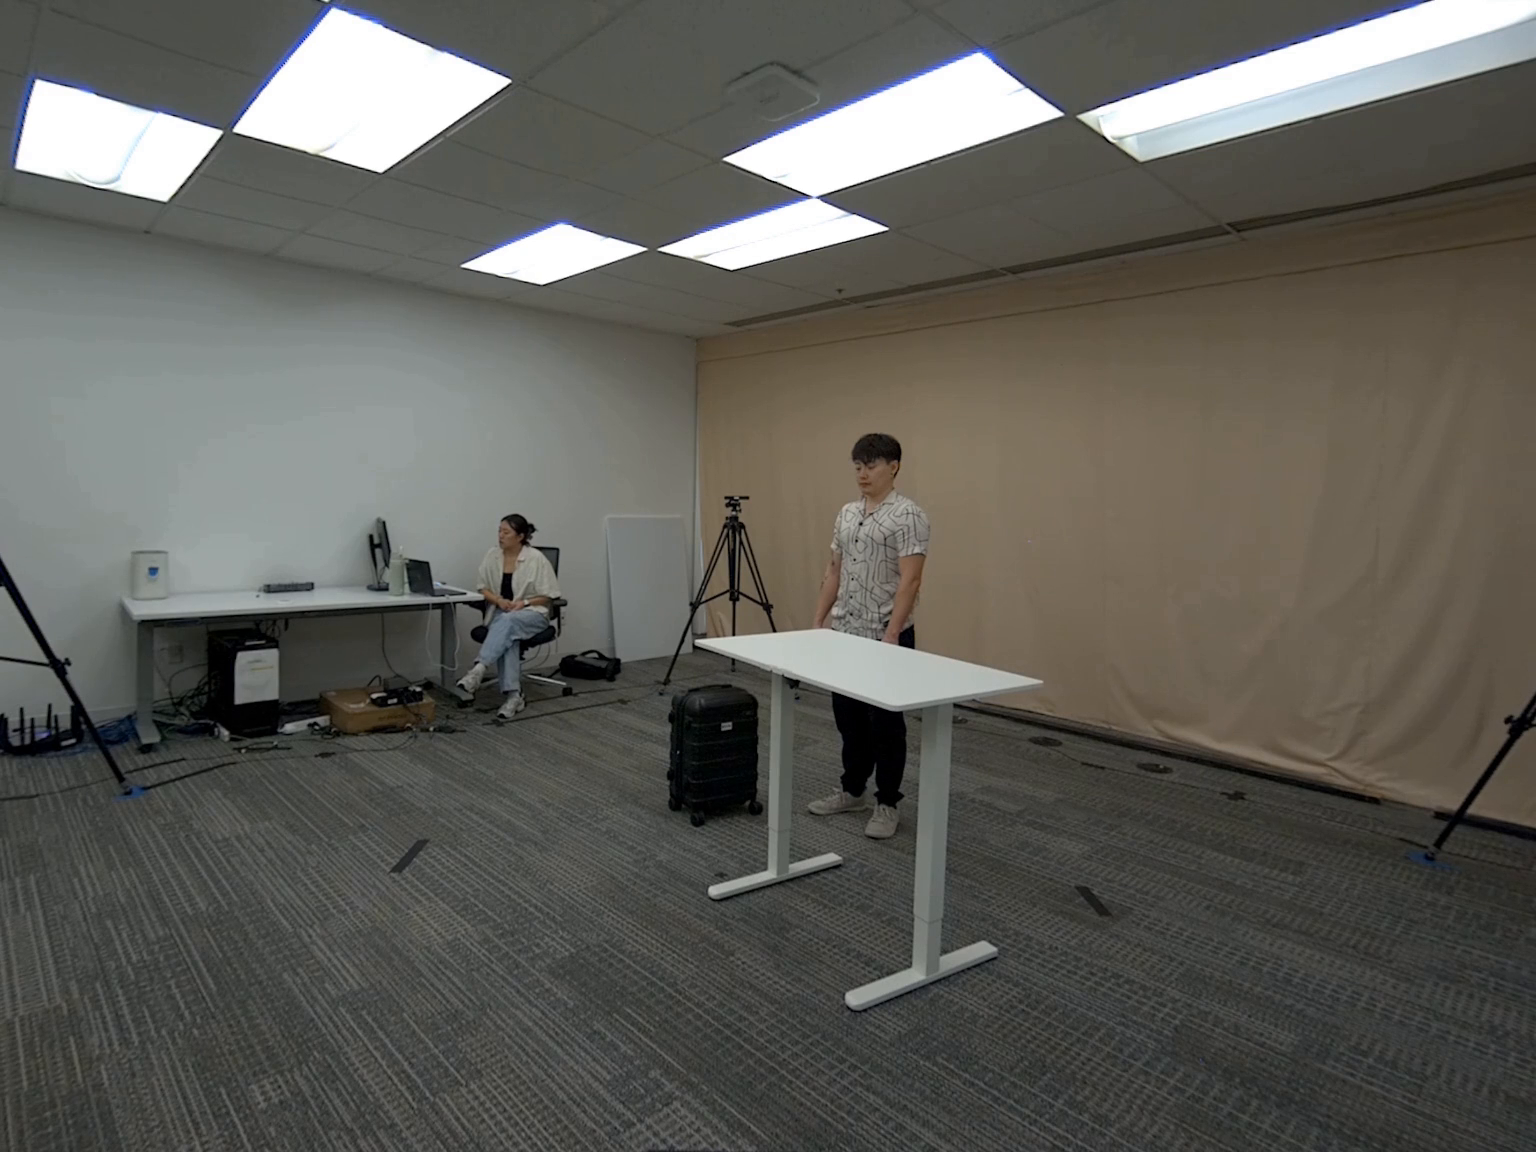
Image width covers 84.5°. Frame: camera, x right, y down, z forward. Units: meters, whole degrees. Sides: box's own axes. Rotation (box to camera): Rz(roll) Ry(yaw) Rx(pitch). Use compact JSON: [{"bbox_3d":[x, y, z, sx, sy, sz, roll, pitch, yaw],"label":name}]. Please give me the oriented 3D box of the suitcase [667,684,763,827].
[{"bbox_3d":[-0.250,0.766,3.742,0.367,0.548,0.254,-1,4,-34],"label":"suitcase"}]
